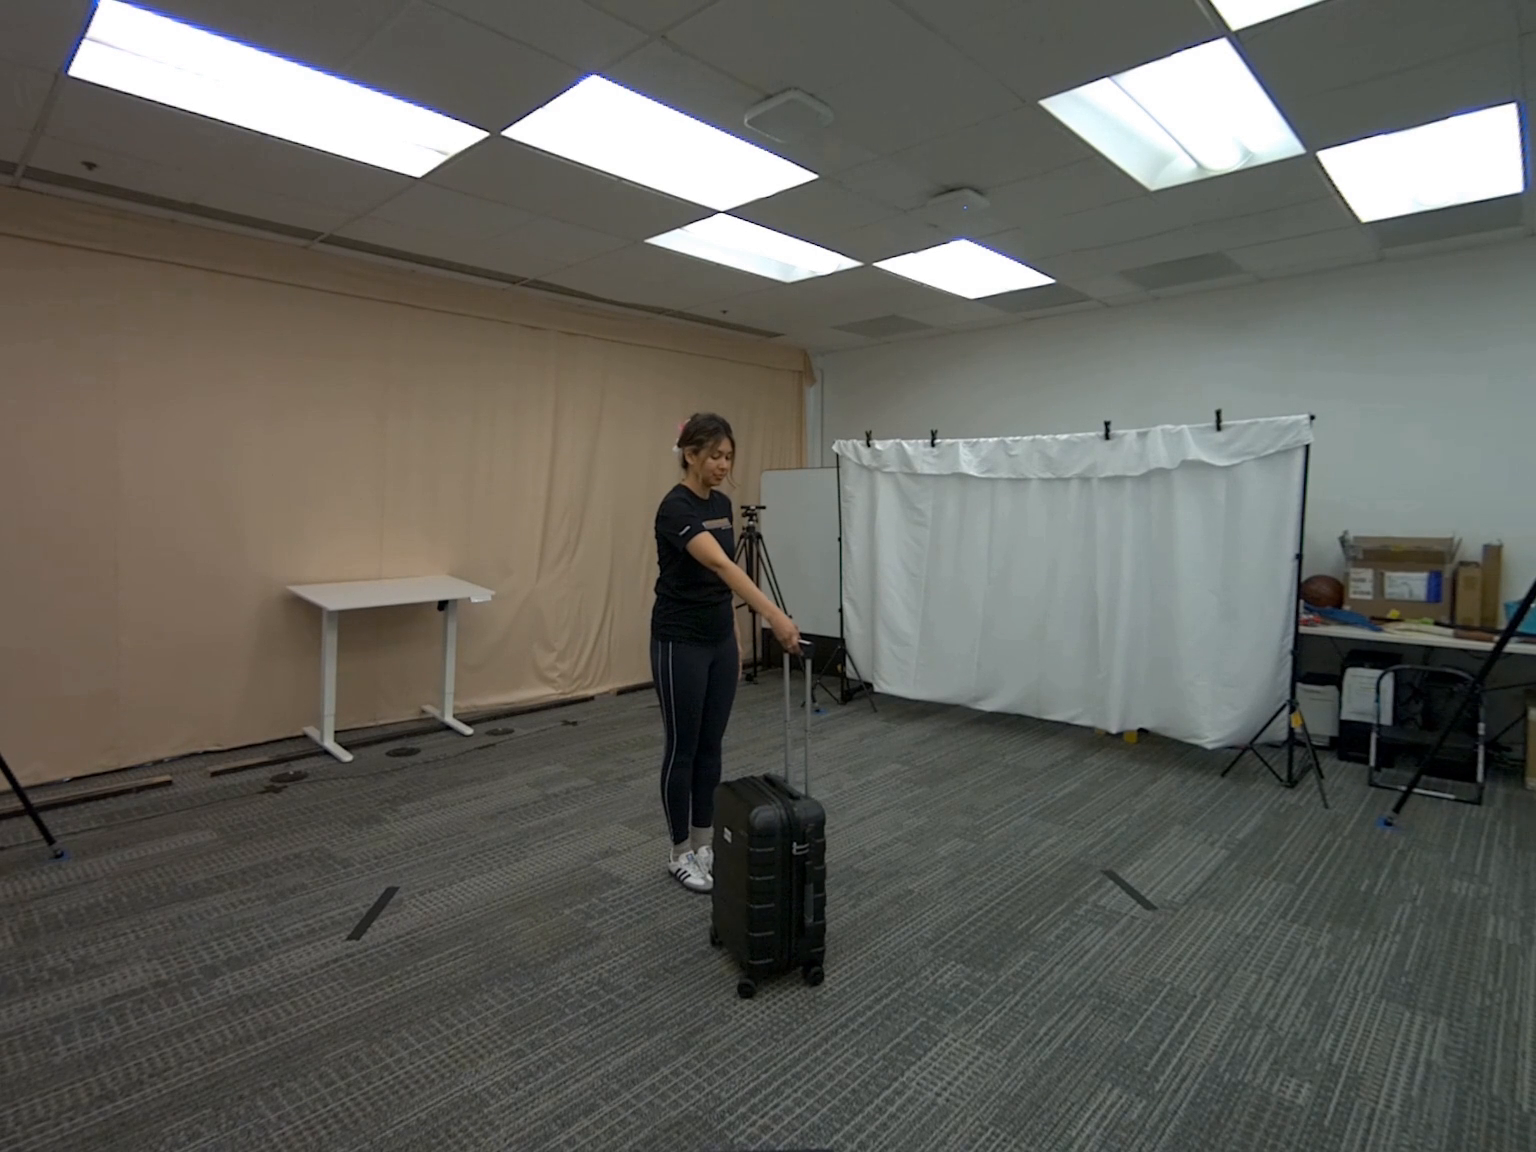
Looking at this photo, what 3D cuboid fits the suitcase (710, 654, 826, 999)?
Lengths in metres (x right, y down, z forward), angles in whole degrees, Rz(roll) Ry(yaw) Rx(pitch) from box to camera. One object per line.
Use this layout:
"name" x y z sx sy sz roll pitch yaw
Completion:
"suitcase" 0.003 0.708 2.543 0.252 0.977 0.392 -2 2 -19
